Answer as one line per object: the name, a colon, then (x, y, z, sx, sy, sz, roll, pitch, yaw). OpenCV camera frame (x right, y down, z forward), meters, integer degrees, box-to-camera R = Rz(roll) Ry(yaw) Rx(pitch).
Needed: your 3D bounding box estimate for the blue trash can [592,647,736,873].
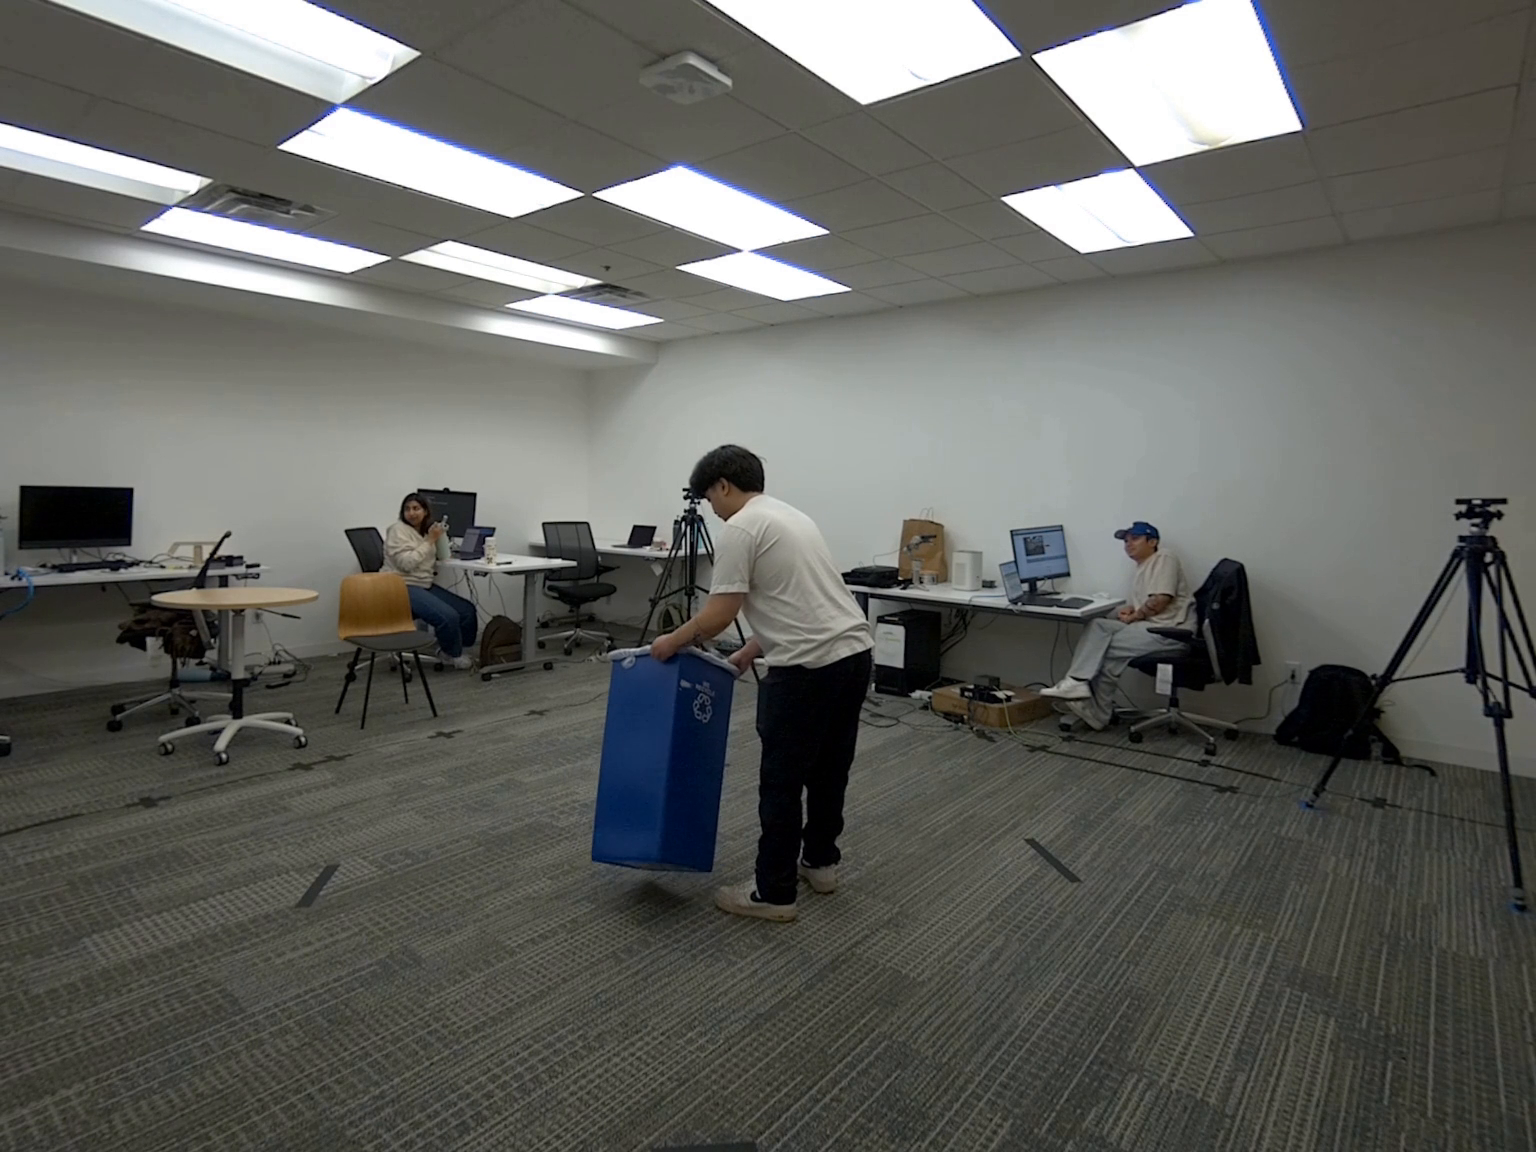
blue trash can: (-0.376, 0.652, 3.024, 0.387, 0.727, 0.358, -11, -28, 32)
